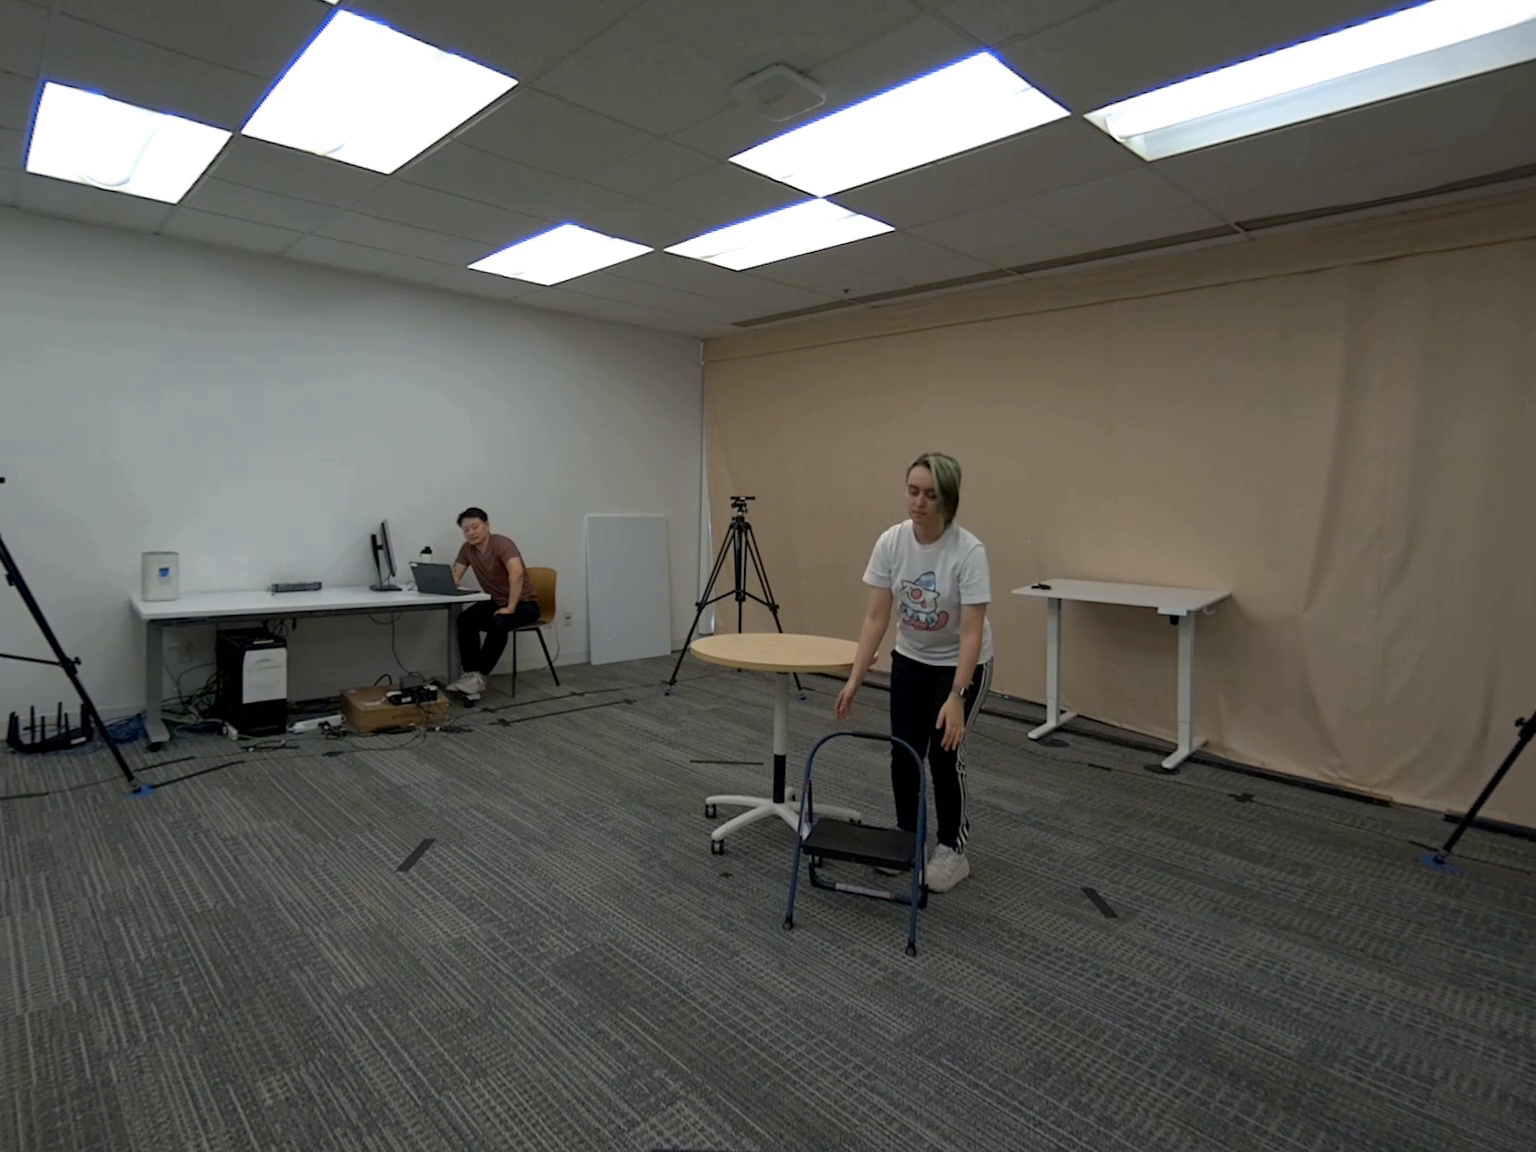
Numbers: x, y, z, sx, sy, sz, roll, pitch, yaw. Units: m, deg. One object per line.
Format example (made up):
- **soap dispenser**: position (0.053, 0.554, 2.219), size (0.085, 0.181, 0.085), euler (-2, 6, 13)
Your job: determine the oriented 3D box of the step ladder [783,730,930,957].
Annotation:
- **step ladder**: position (0.306, 0.840, 2.802), size (0.437, 0.604, 0.345), euler (3, 5, 19)
